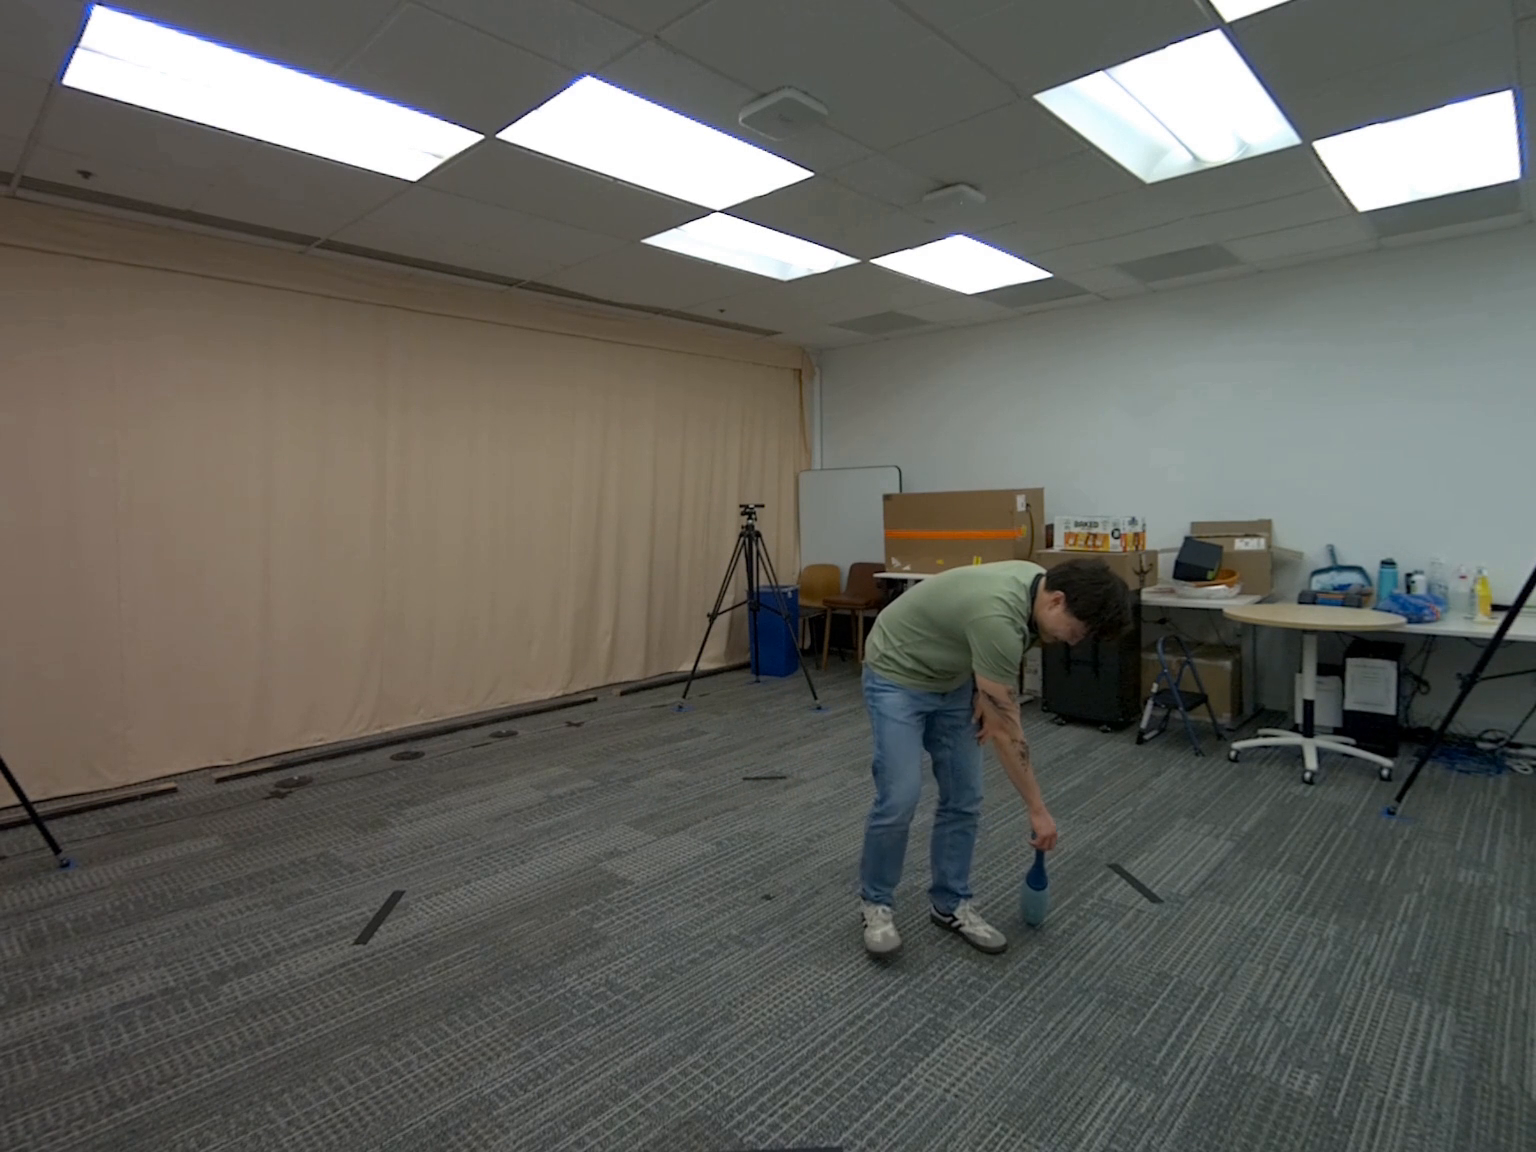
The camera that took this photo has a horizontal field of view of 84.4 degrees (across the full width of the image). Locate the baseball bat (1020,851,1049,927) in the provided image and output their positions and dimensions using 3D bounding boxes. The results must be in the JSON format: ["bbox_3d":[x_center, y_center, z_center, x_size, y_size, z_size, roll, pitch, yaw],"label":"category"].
[{"bbox_3d":[0.841,0.940,2.586,0.090,0.528,0.091,-9,43,6],"label":"baseball bat"}]
